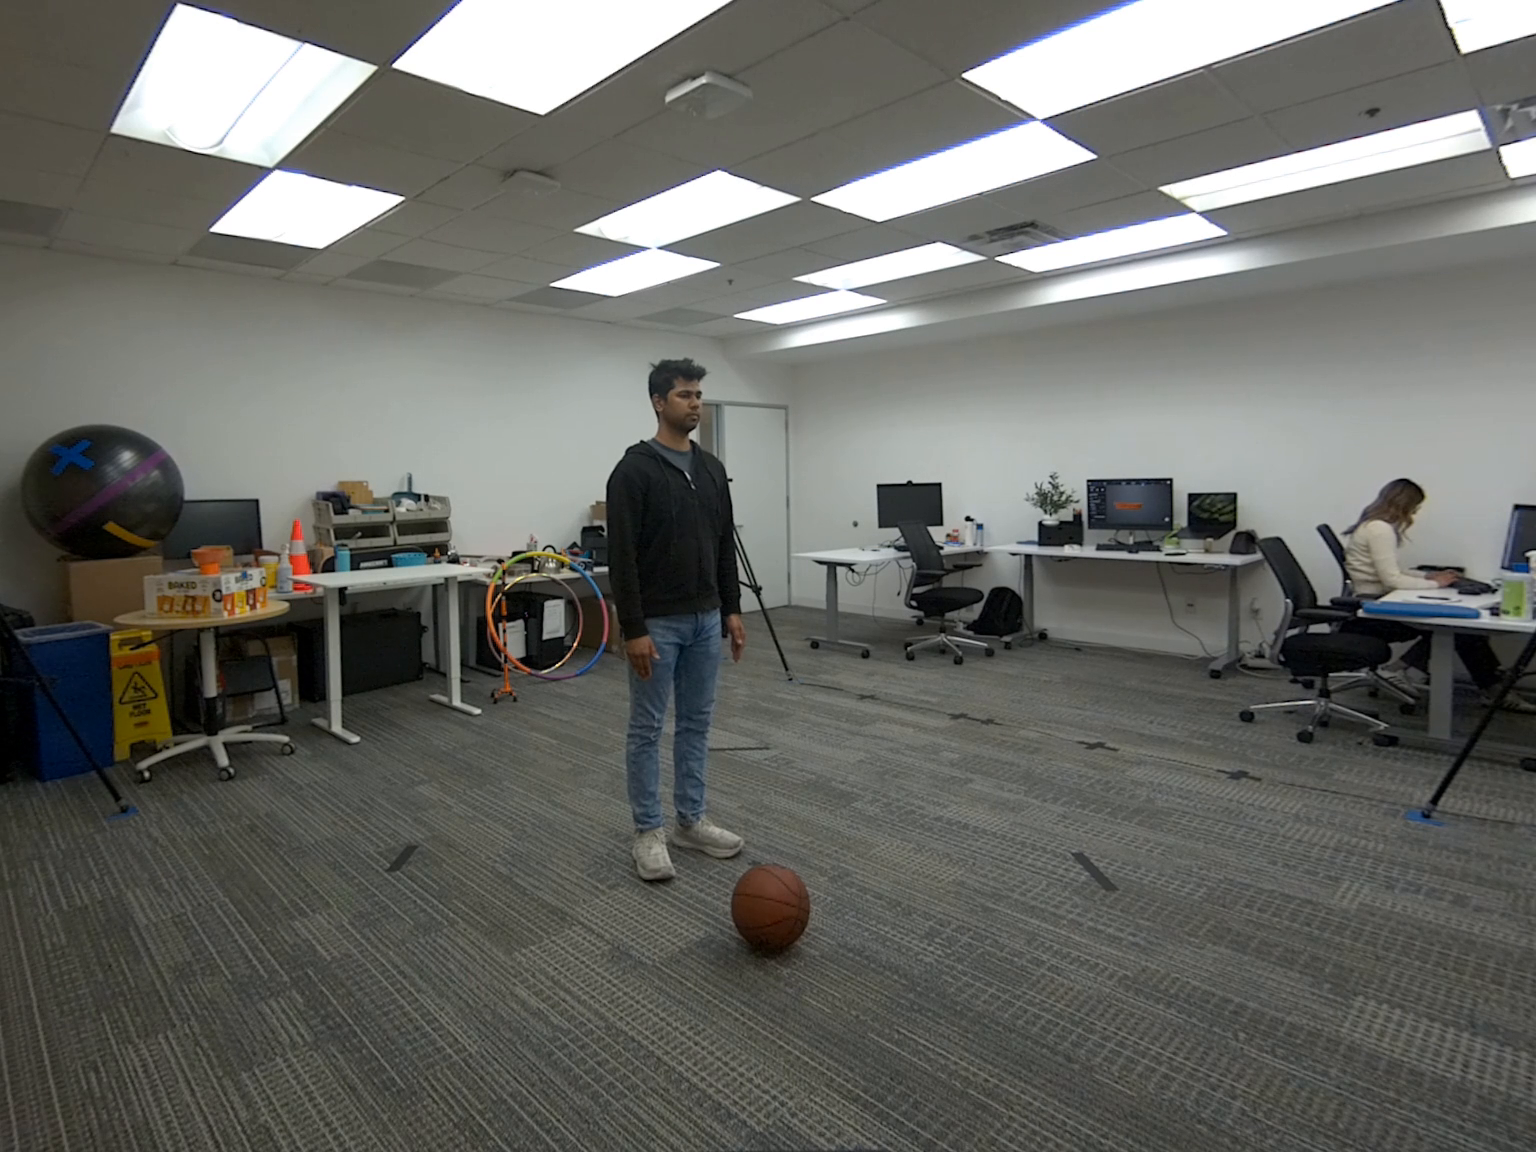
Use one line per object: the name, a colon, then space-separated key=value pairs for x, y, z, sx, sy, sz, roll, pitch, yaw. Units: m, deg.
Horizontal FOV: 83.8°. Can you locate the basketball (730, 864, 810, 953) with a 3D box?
basketball: x=0.014 y=0.986 z=2.556 sx=0.236 sy=0.235 sz=0.237 roll=-1 pitch=5 yaw=-2
